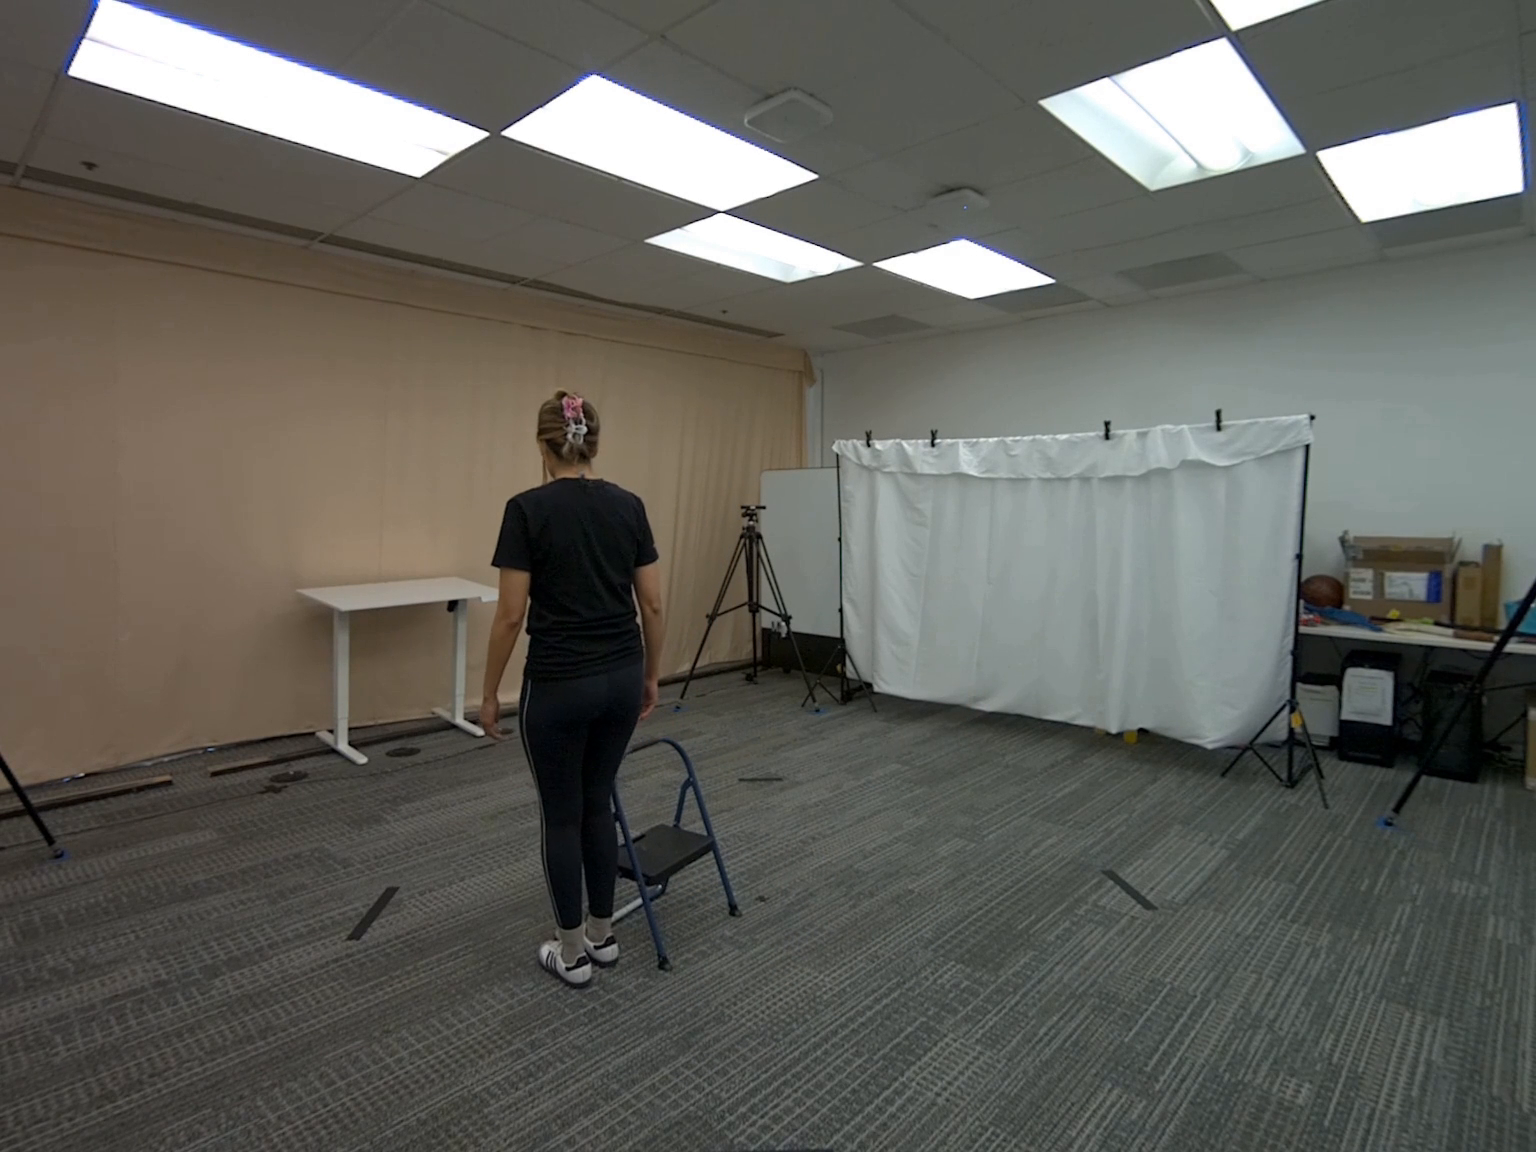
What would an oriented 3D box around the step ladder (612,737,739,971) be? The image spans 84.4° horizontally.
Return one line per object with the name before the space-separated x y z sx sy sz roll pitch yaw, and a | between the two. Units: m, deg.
step ladder | -0.344 0.861 2.780 0.360 0.605 0.419 2 4 32
